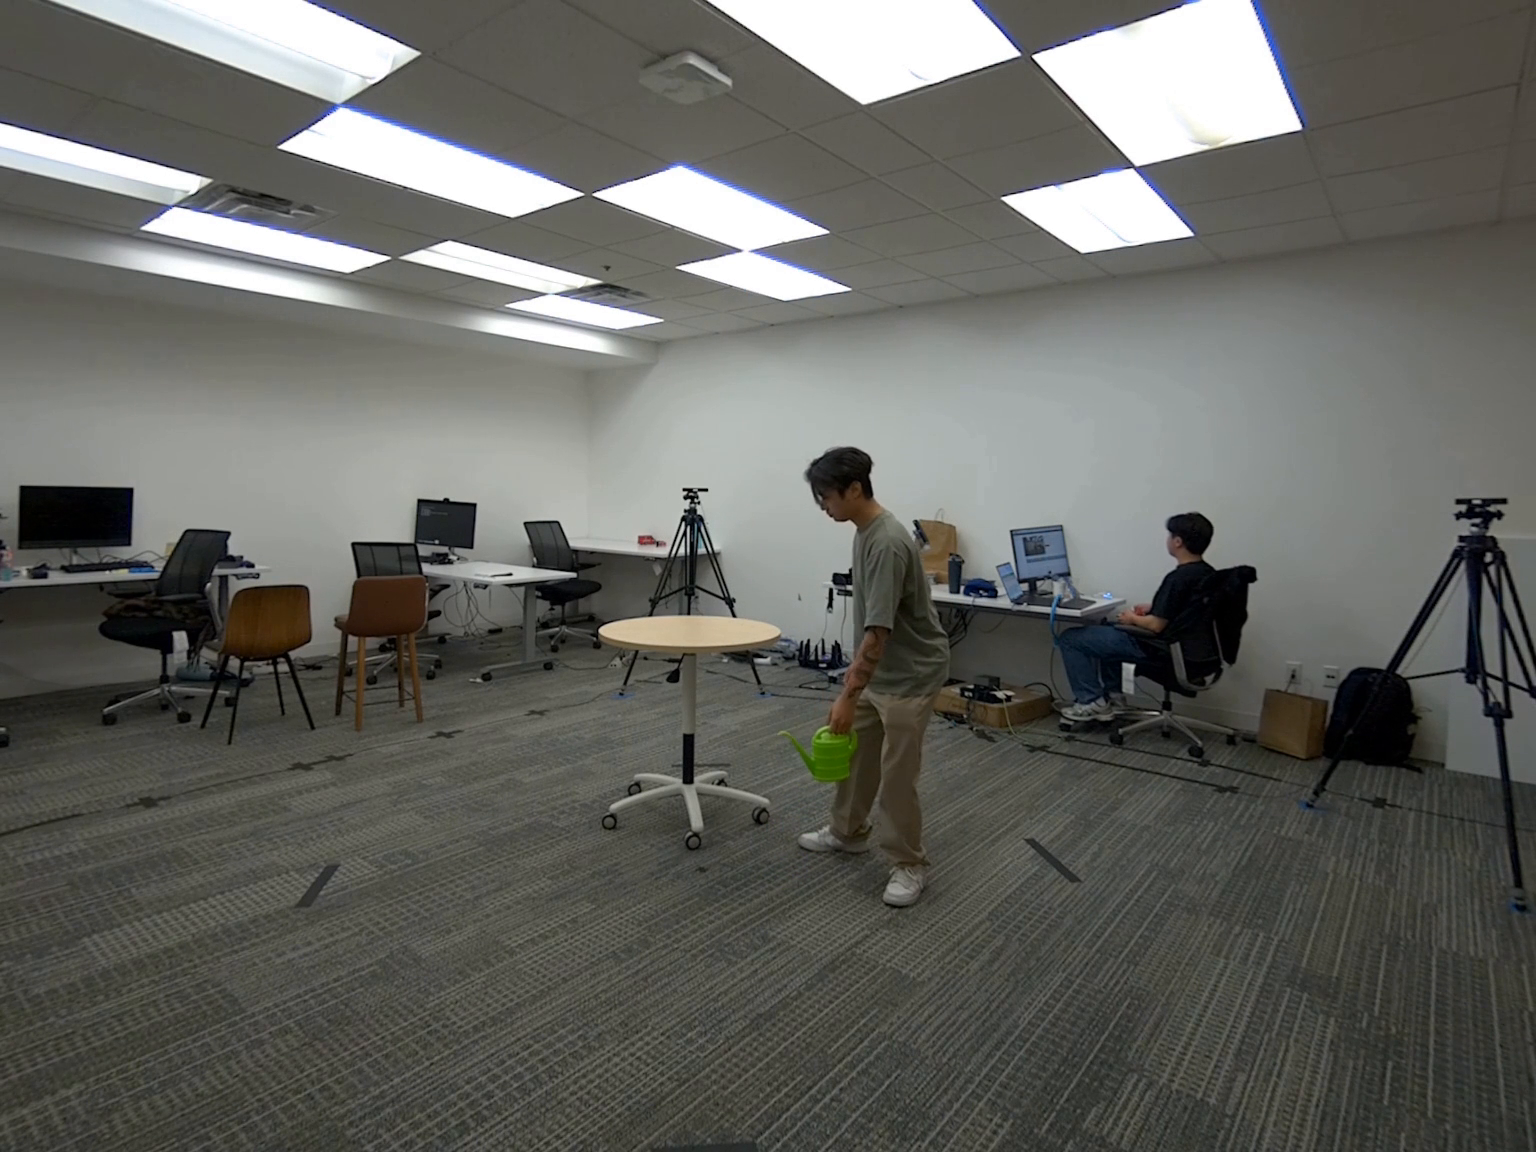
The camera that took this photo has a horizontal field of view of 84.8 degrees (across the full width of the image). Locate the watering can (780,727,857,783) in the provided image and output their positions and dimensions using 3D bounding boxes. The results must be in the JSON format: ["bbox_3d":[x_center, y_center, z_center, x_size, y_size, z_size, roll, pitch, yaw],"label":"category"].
[{"bbox_3d":[0.160,0.582,2.819,0.276,0.175,0.099,-2,7,-6],"label":"watering can"}]
